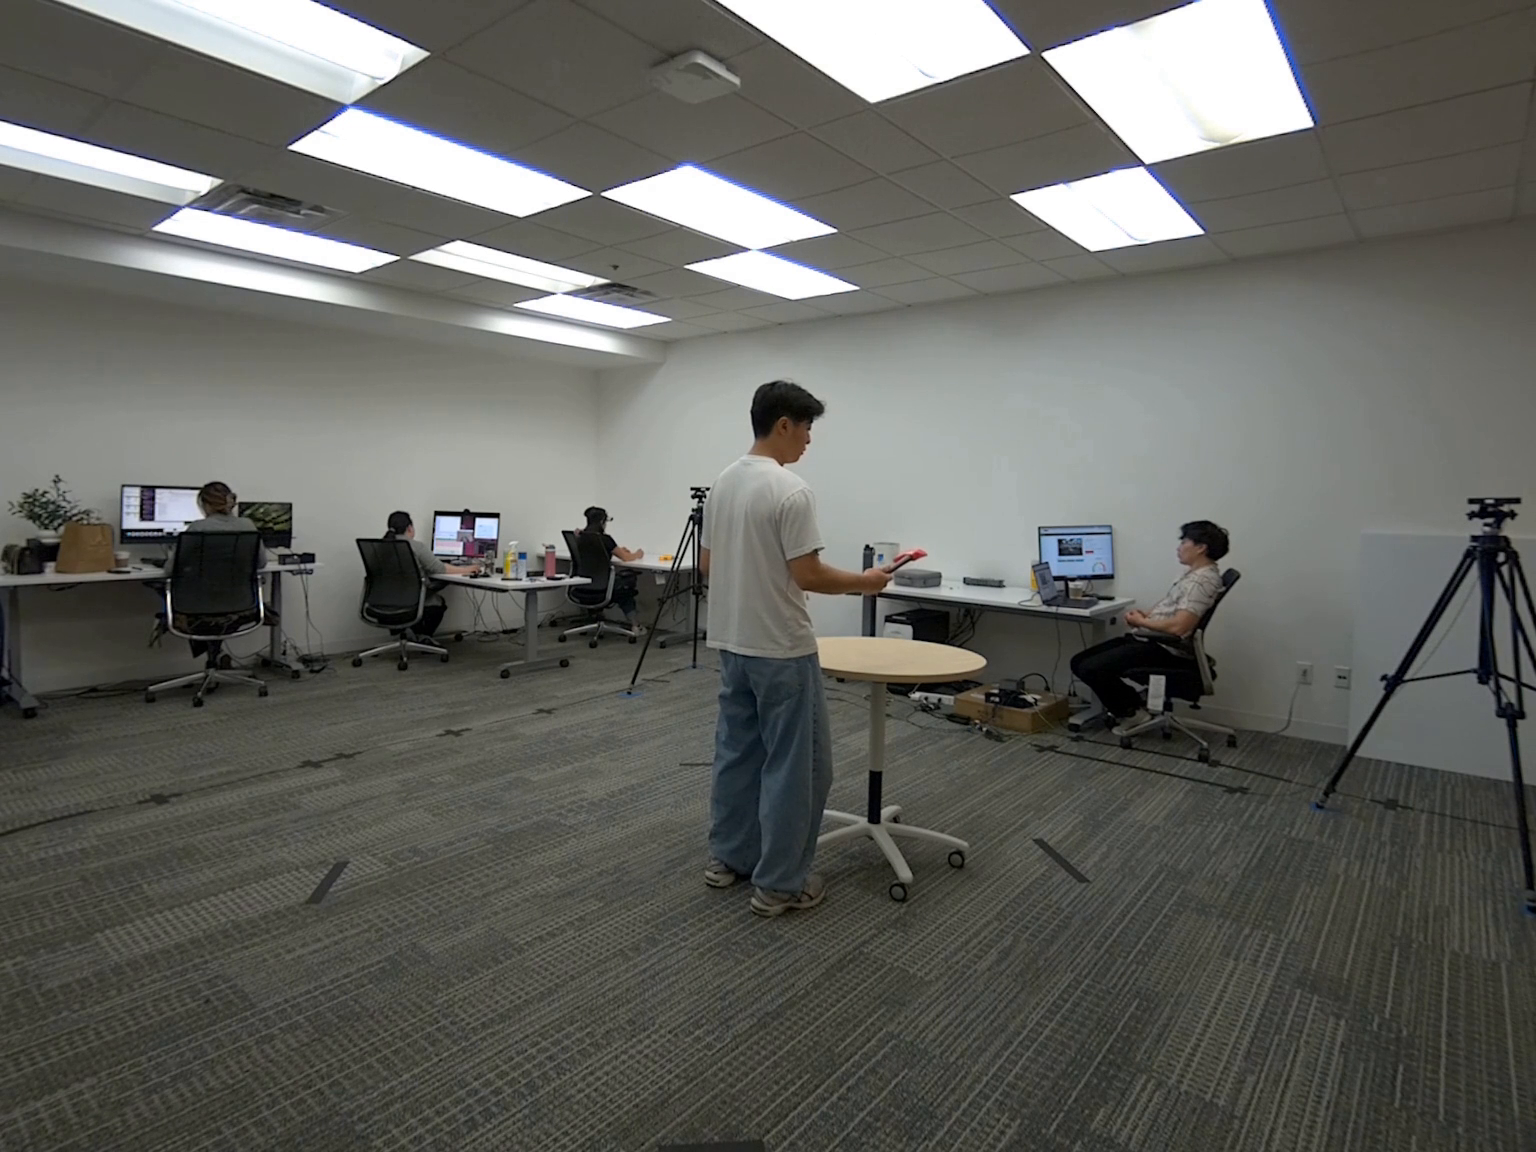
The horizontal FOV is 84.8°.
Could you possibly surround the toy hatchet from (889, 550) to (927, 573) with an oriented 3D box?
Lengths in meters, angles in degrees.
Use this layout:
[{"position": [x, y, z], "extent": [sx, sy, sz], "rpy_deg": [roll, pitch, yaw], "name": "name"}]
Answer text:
[{"position": [0.408, -0.037, 2.897], "extent": [0.268, 0.029, 0.134], "rpy_deg": [-21, 14, -12], "name": "toy hatchet"}]
